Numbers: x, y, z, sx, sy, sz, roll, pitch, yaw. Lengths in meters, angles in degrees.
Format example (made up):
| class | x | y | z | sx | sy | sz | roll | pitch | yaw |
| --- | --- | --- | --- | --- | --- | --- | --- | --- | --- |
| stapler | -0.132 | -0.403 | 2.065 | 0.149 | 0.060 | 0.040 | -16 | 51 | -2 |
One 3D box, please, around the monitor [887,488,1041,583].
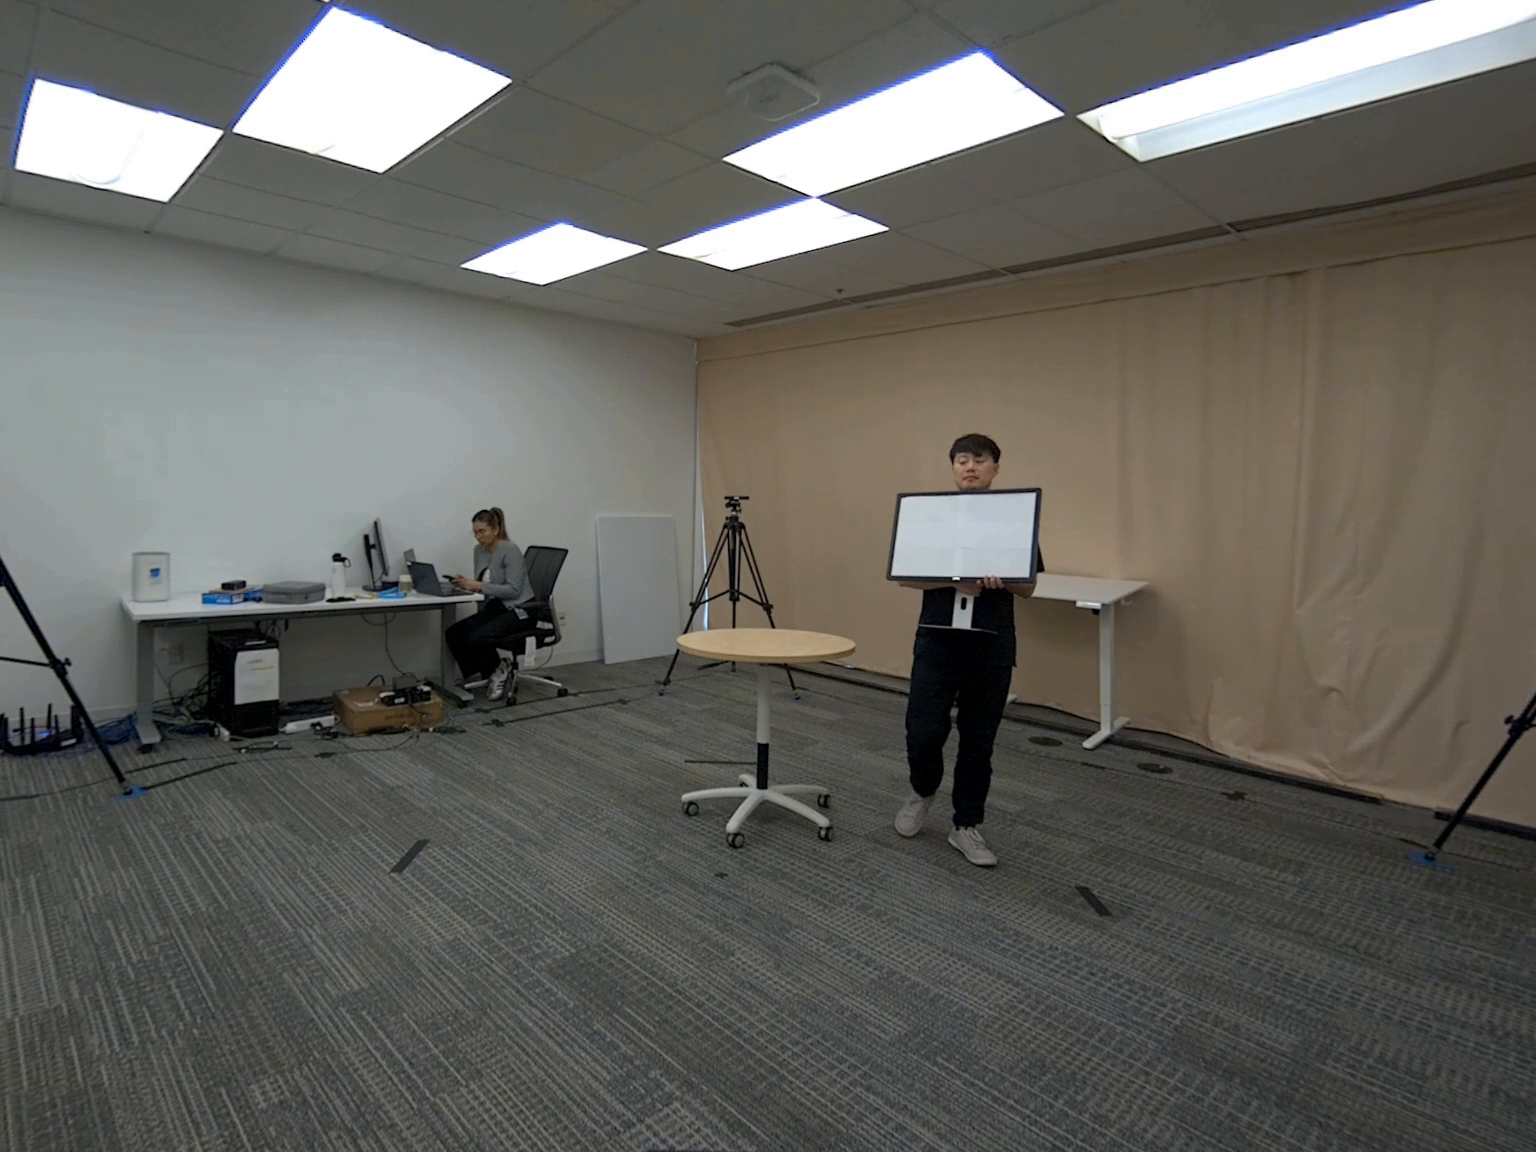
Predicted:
| class | x | y | z | sx | sy | sz | roll | pitch | yaw |
| --- | --- | --- | --- | --- | --- | --- | --- | --- | --- |
| monitor | 0.728 | -0.057 | 3.199 | 0.551 | 0.525 | 0.182 | 1 | -8 | 33 |
